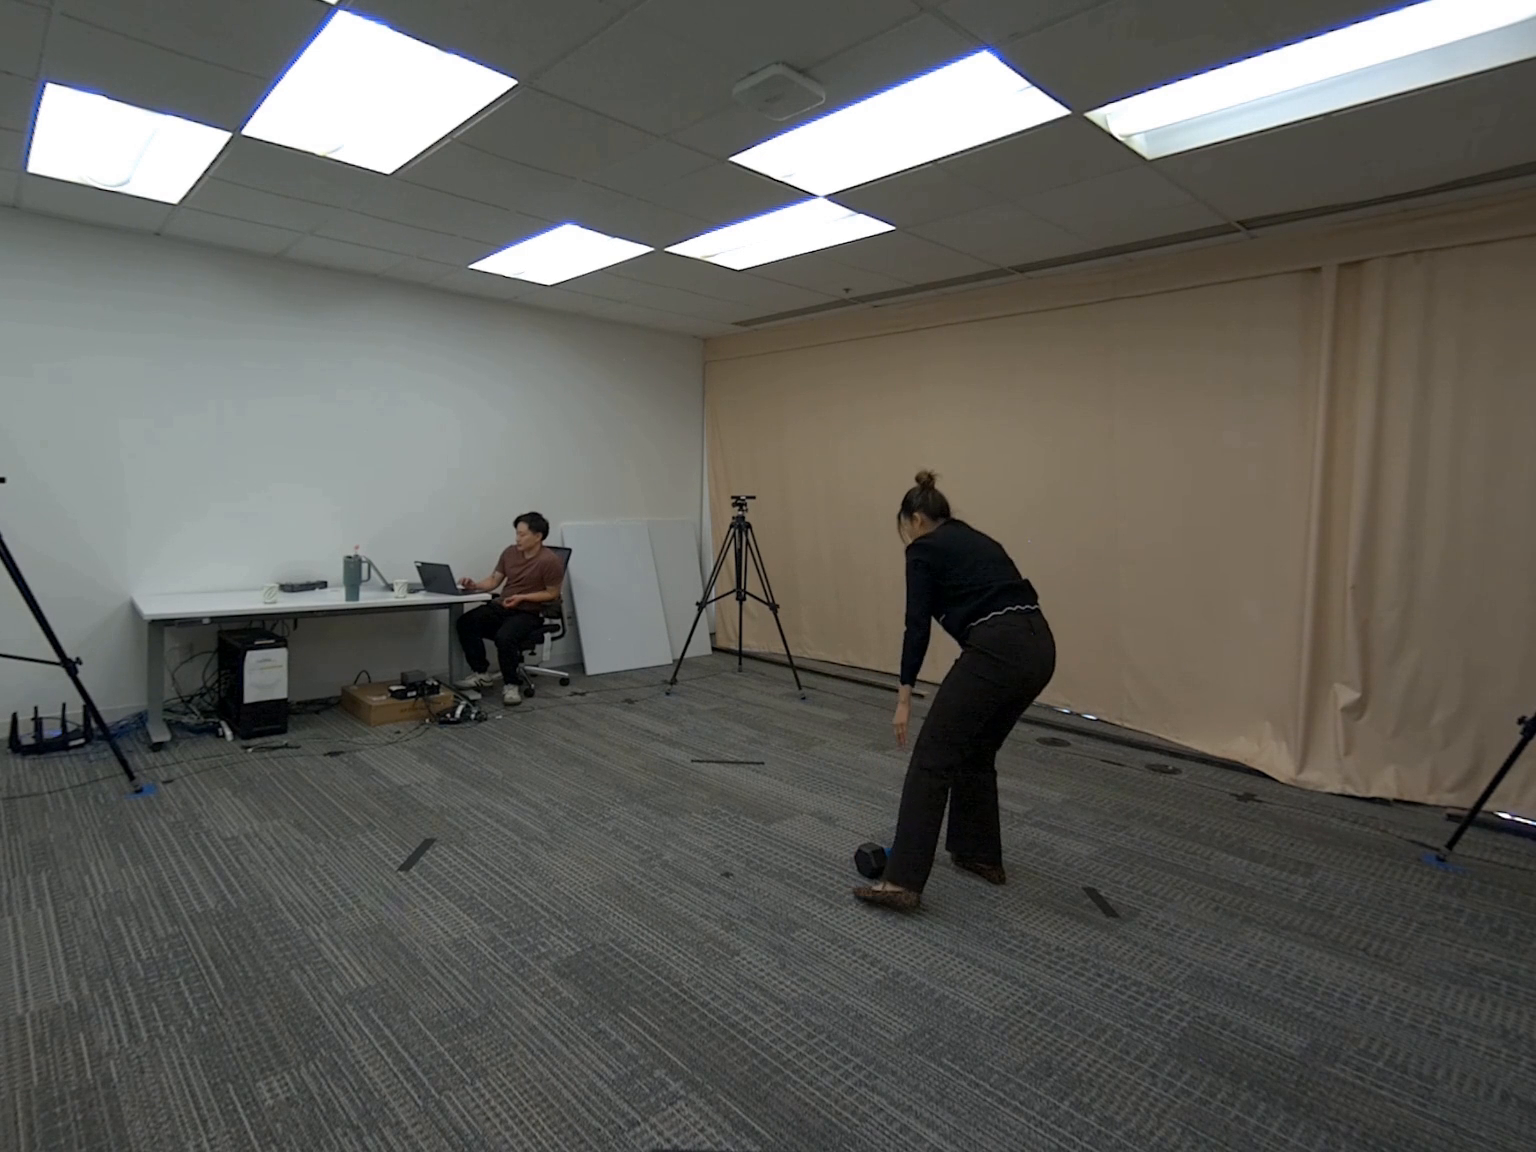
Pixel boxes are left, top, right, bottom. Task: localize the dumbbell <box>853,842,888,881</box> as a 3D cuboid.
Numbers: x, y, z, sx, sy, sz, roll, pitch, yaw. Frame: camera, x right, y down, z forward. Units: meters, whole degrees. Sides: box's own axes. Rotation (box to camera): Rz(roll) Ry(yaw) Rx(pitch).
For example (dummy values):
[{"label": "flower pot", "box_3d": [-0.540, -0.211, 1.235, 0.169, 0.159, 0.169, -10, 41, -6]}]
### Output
[{"label": "dumbbell", "box_3d": [0.463, 1.056, 3.189, 0.287, 0.122, 0.112, -1, 35, -37]}]
